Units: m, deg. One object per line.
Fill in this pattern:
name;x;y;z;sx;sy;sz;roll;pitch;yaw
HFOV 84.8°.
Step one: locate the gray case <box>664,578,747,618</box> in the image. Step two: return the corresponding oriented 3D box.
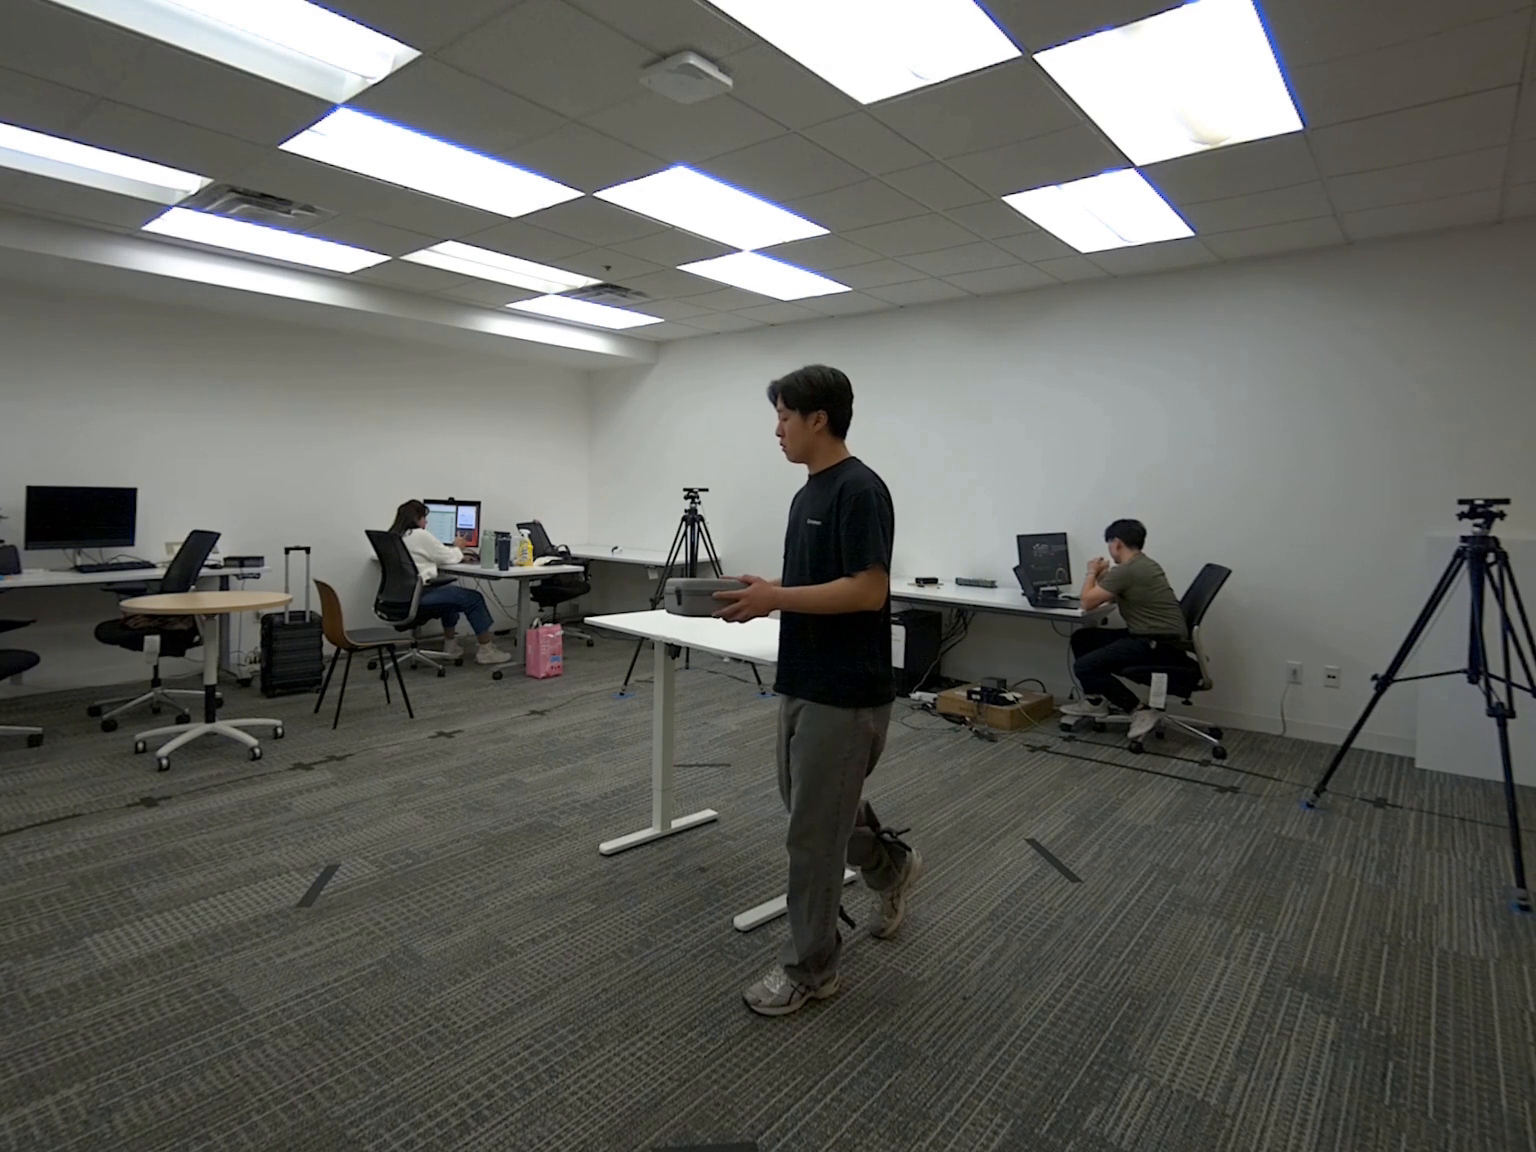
gray case;-0.137;0.057;2.359;0.283;0.103;0.267;1;-1;-15
